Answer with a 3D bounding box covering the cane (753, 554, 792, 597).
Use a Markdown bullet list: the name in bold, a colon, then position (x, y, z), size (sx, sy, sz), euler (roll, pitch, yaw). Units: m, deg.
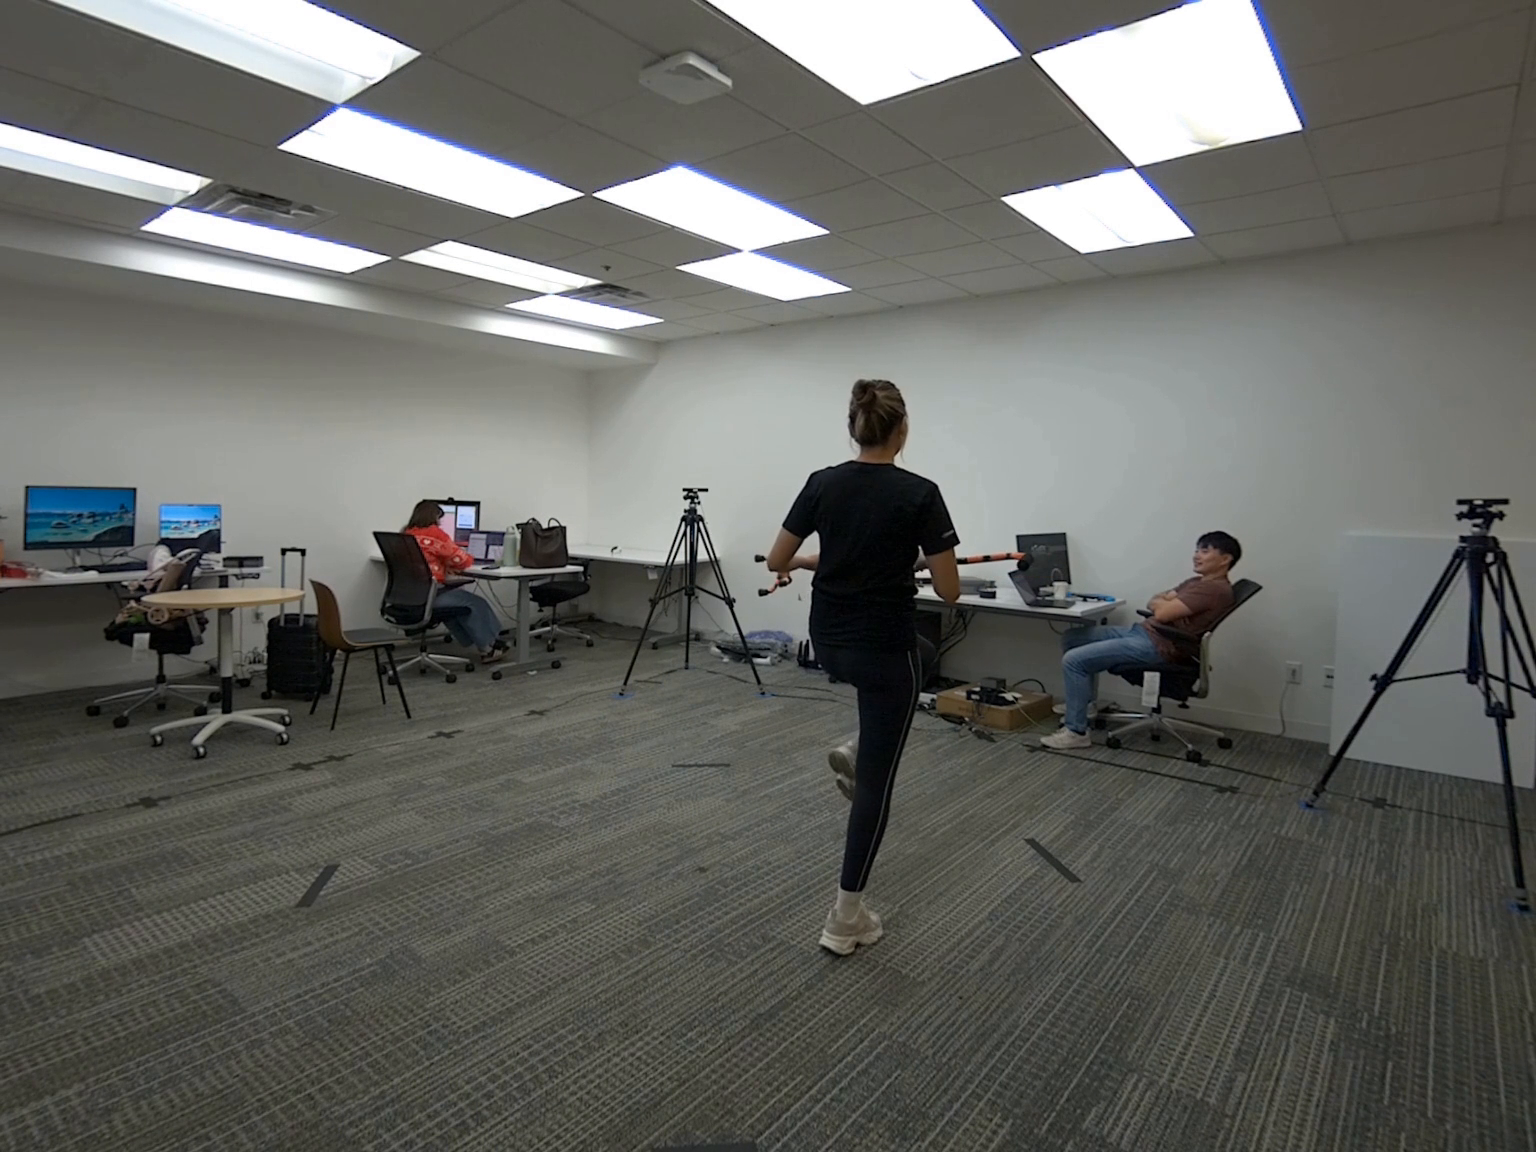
- **cane**: position (0.428, -0.031, 2.859), size (0.932, 0.150, 0.203), euler (-1, 11, 28)
